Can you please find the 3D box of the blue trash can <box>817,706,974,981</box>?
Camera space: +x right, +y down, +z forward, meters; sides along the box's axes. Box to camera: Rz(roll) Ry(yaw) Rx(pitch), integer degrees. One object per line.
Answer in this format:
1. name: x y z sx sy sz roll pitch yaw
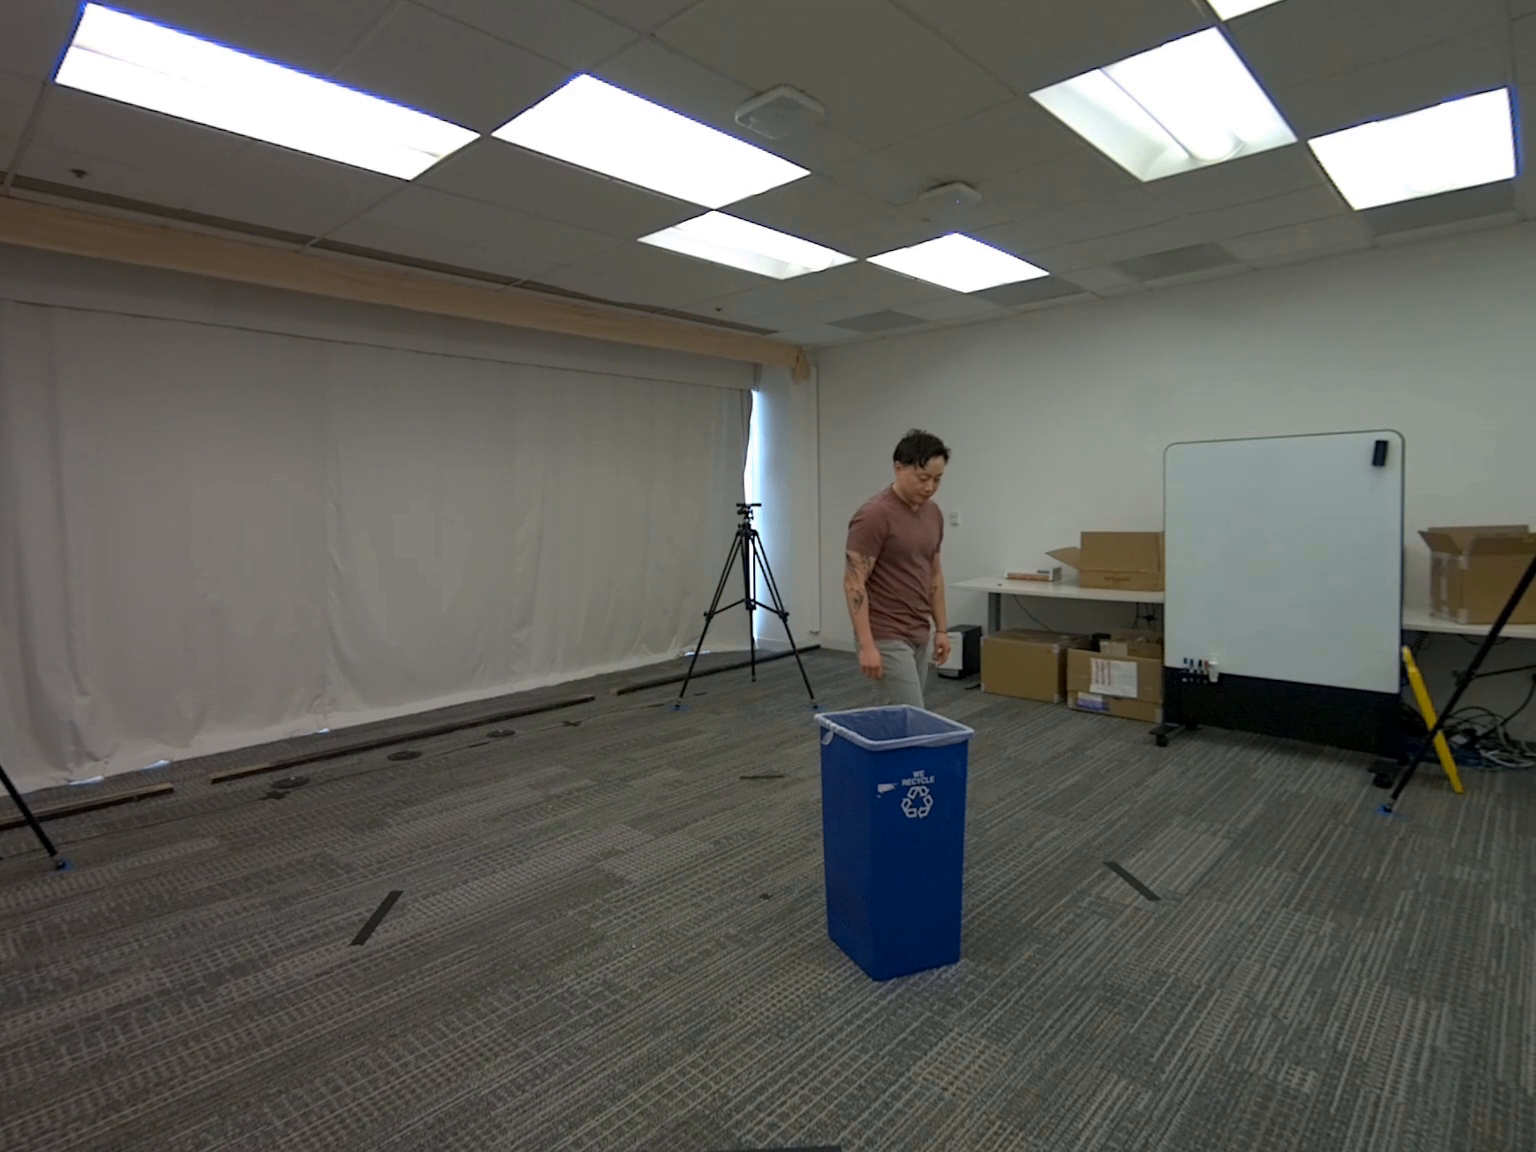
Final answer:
1. blue trash can: 0.390 0.804 2.609 0.366 0.712 0.387 -2 4 -23
